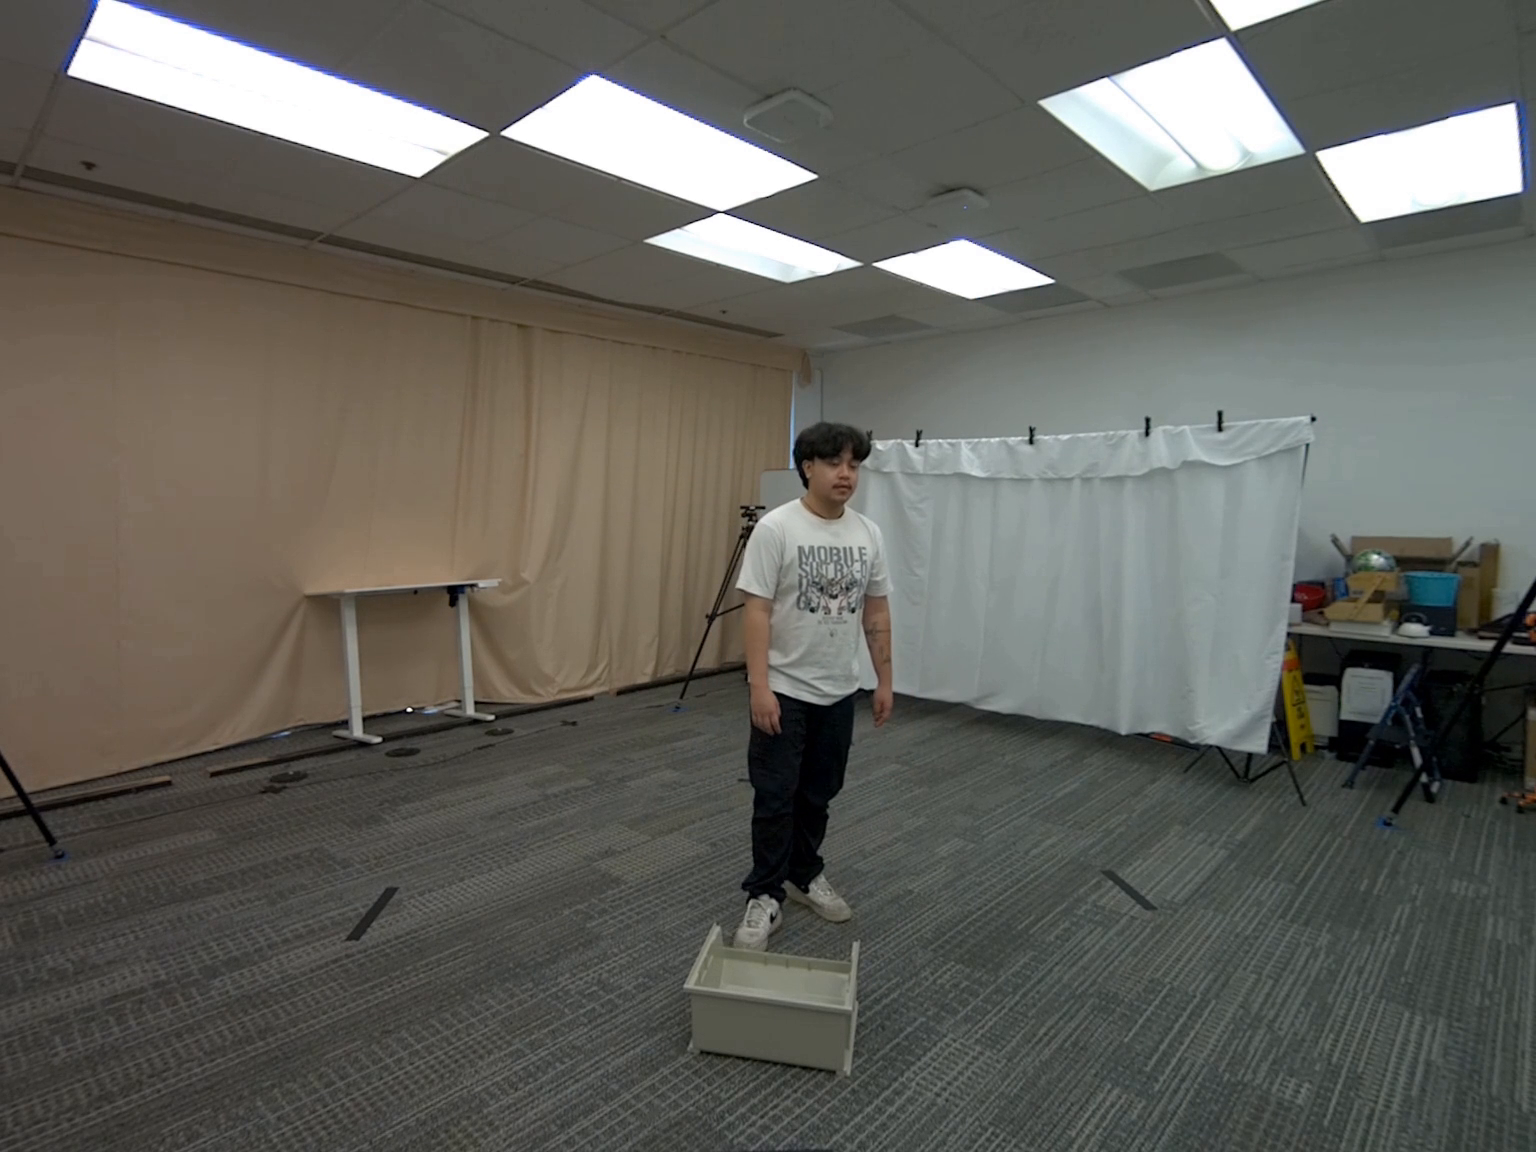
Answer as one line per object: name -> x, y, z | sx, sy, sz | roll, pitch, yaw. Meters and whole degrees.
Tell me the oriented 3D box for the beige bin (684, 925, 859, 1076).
beige bin -> 0.026, 1.116, 2.260 | 0.428, 0.188, 0.374 | 2, 6, 11
